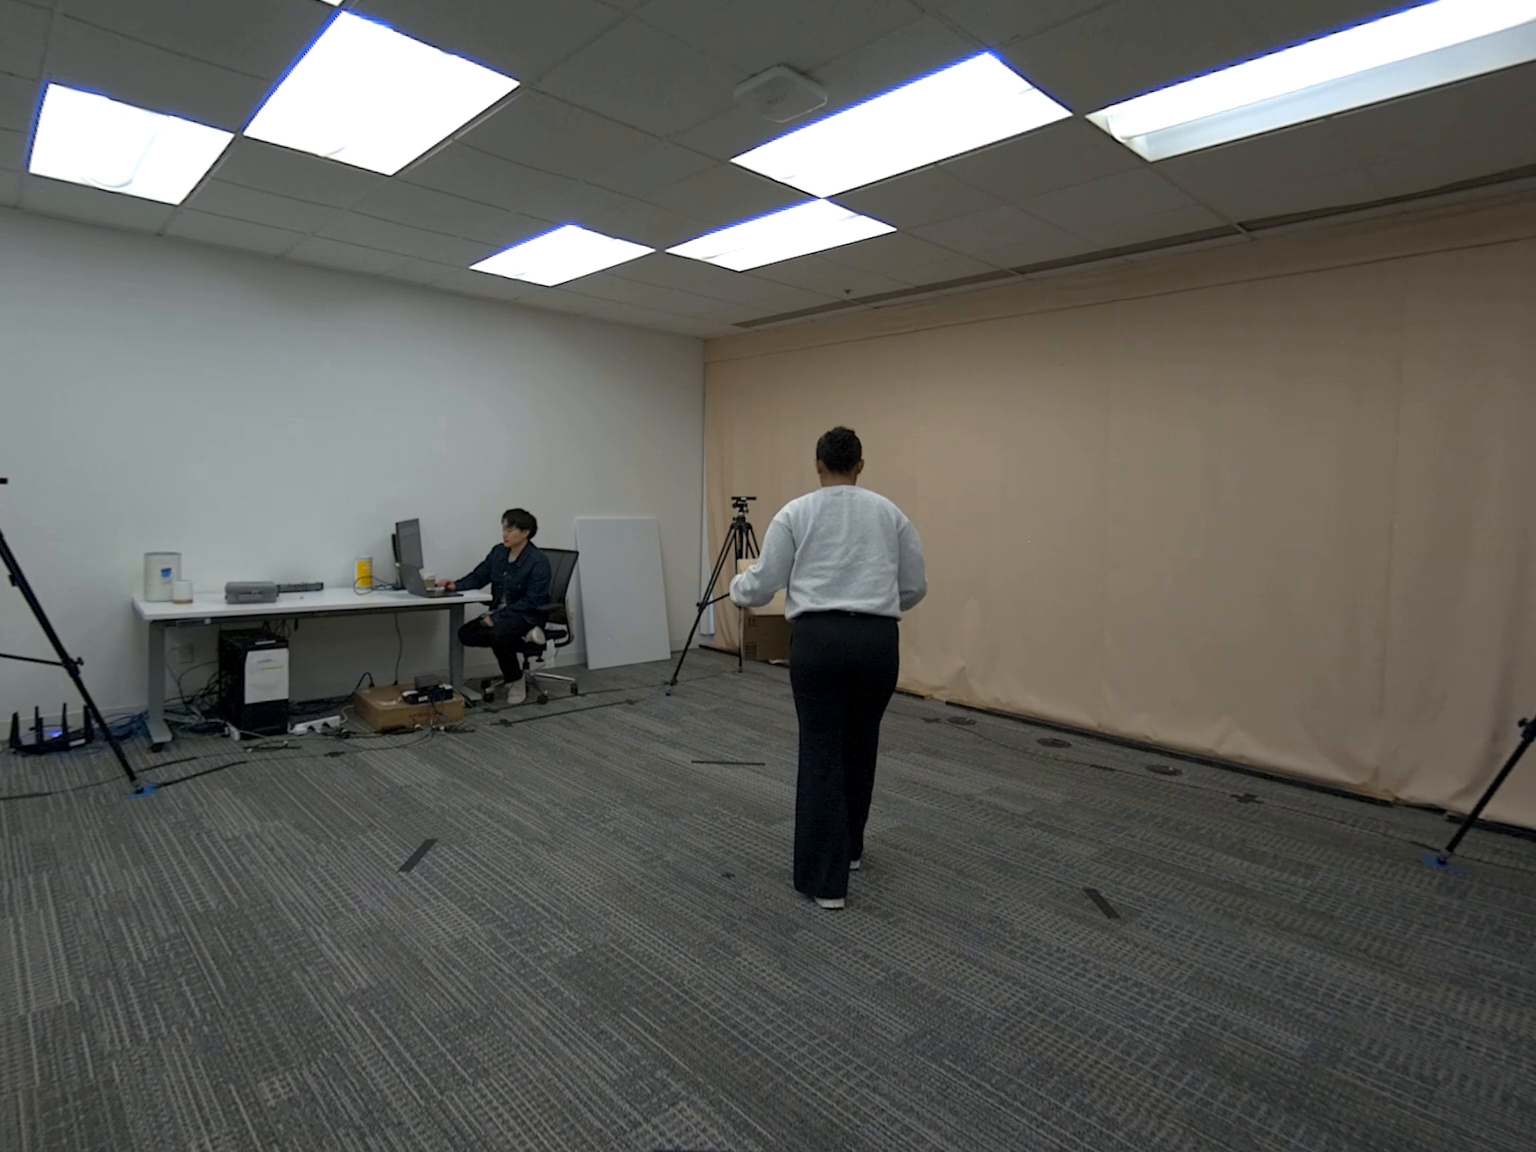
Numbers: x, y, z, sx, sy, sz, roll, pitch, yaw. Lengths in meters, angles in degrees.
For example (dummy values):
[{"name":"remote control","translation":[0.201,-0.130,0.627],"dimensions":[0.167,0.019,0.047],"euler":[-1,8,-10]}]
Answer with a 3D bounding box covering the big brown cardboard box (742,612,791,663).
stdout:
[{"name":"big brown cardboard box","translation":[0.171,0.123,3.385],"dimensions":[0.587,0.229,0.427],"euler":[-2,31,-5]}]
